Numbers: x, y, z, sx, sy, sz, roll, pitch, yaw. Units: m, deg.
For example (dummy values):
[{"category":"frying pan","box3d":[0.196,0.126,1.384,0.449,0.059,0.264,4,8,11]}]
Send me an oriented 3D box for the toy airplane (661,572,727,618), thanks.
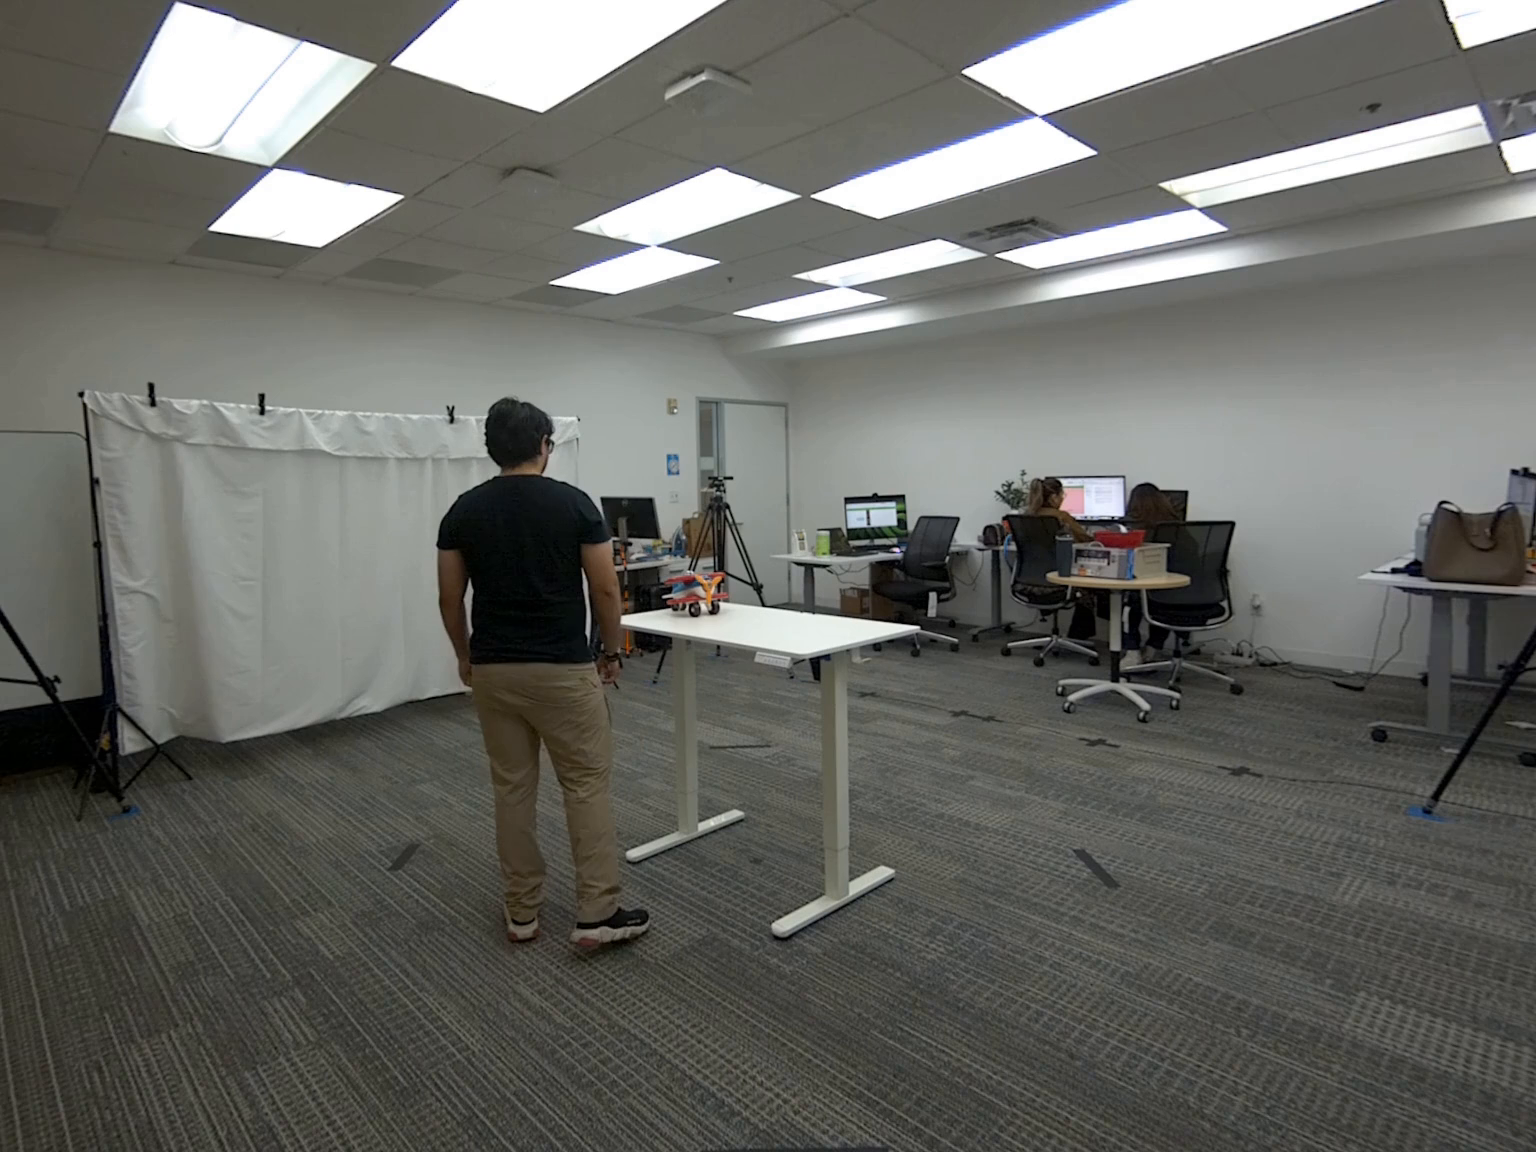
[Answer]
[{"category":"toy airplane","box3d":[-0.301,0.066,3.249,0.265,0.156,0.246,3,5,25]}]
